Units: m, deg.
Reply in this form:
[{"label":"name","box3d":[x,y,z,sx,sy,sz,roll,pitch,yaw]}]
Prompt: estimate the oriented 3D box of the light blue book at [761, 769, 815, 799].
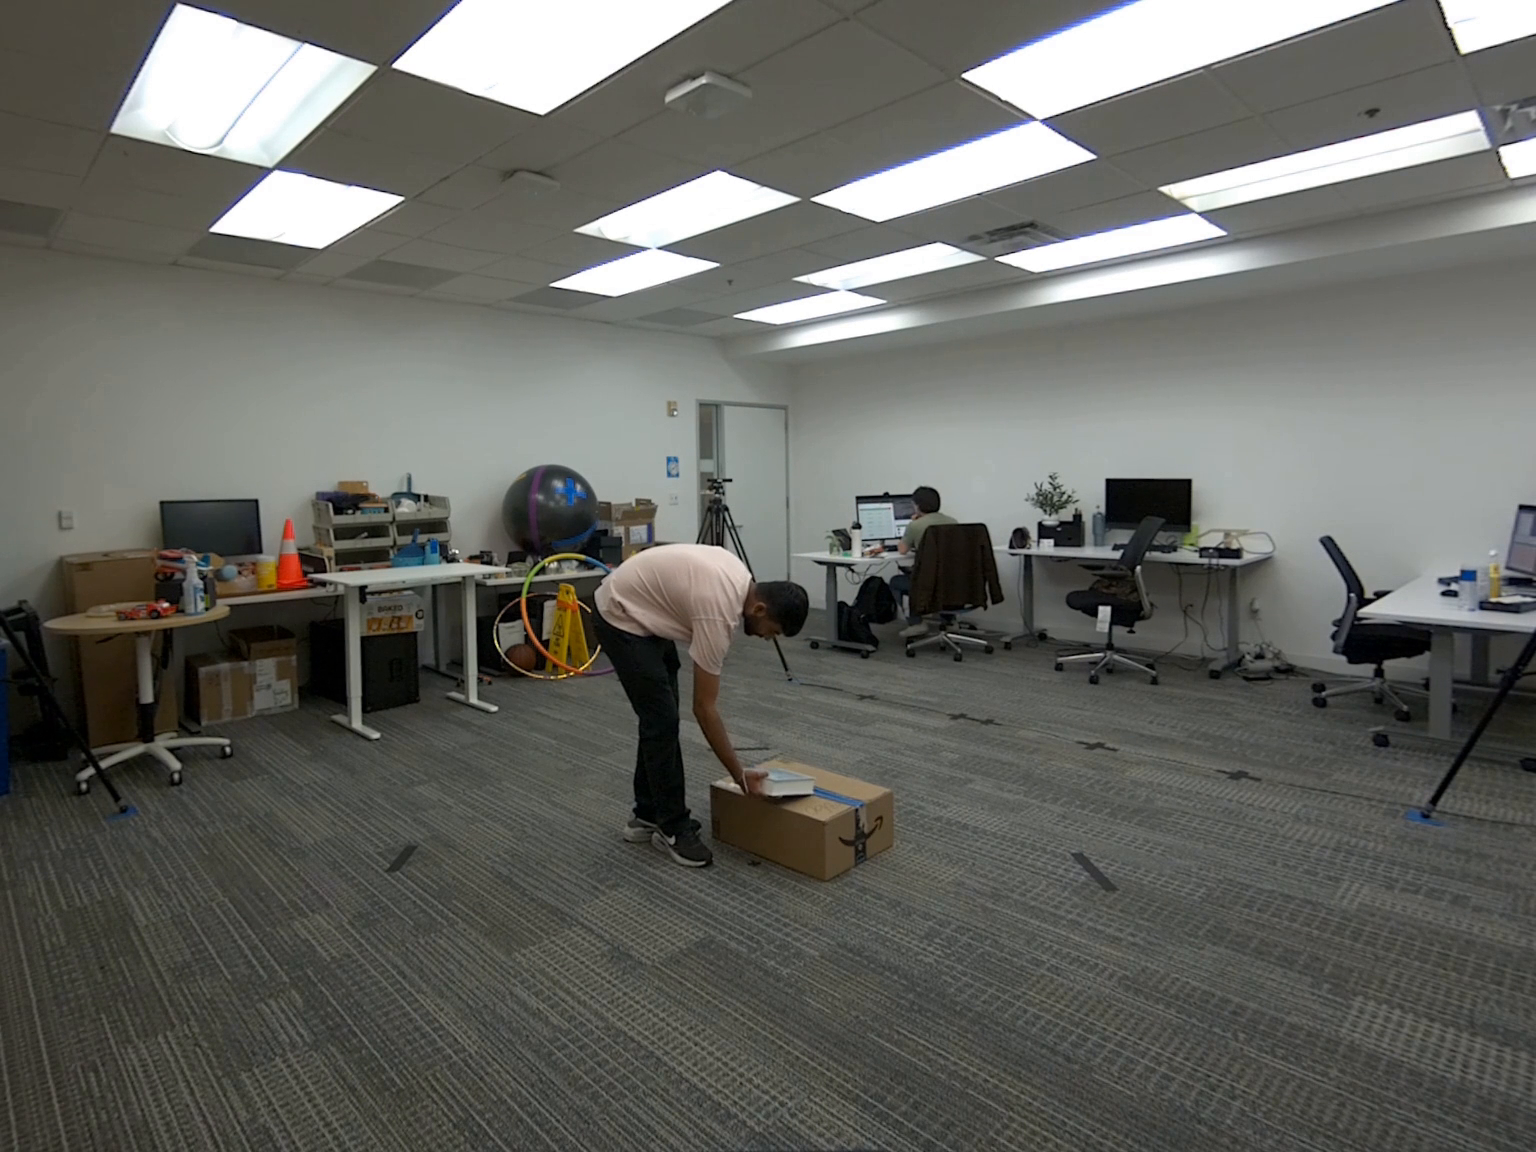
[{"label":"light blue book","box3d":[0.017,0.764,3.173,0.197,0.059,0.252,3,-6,43]}]
